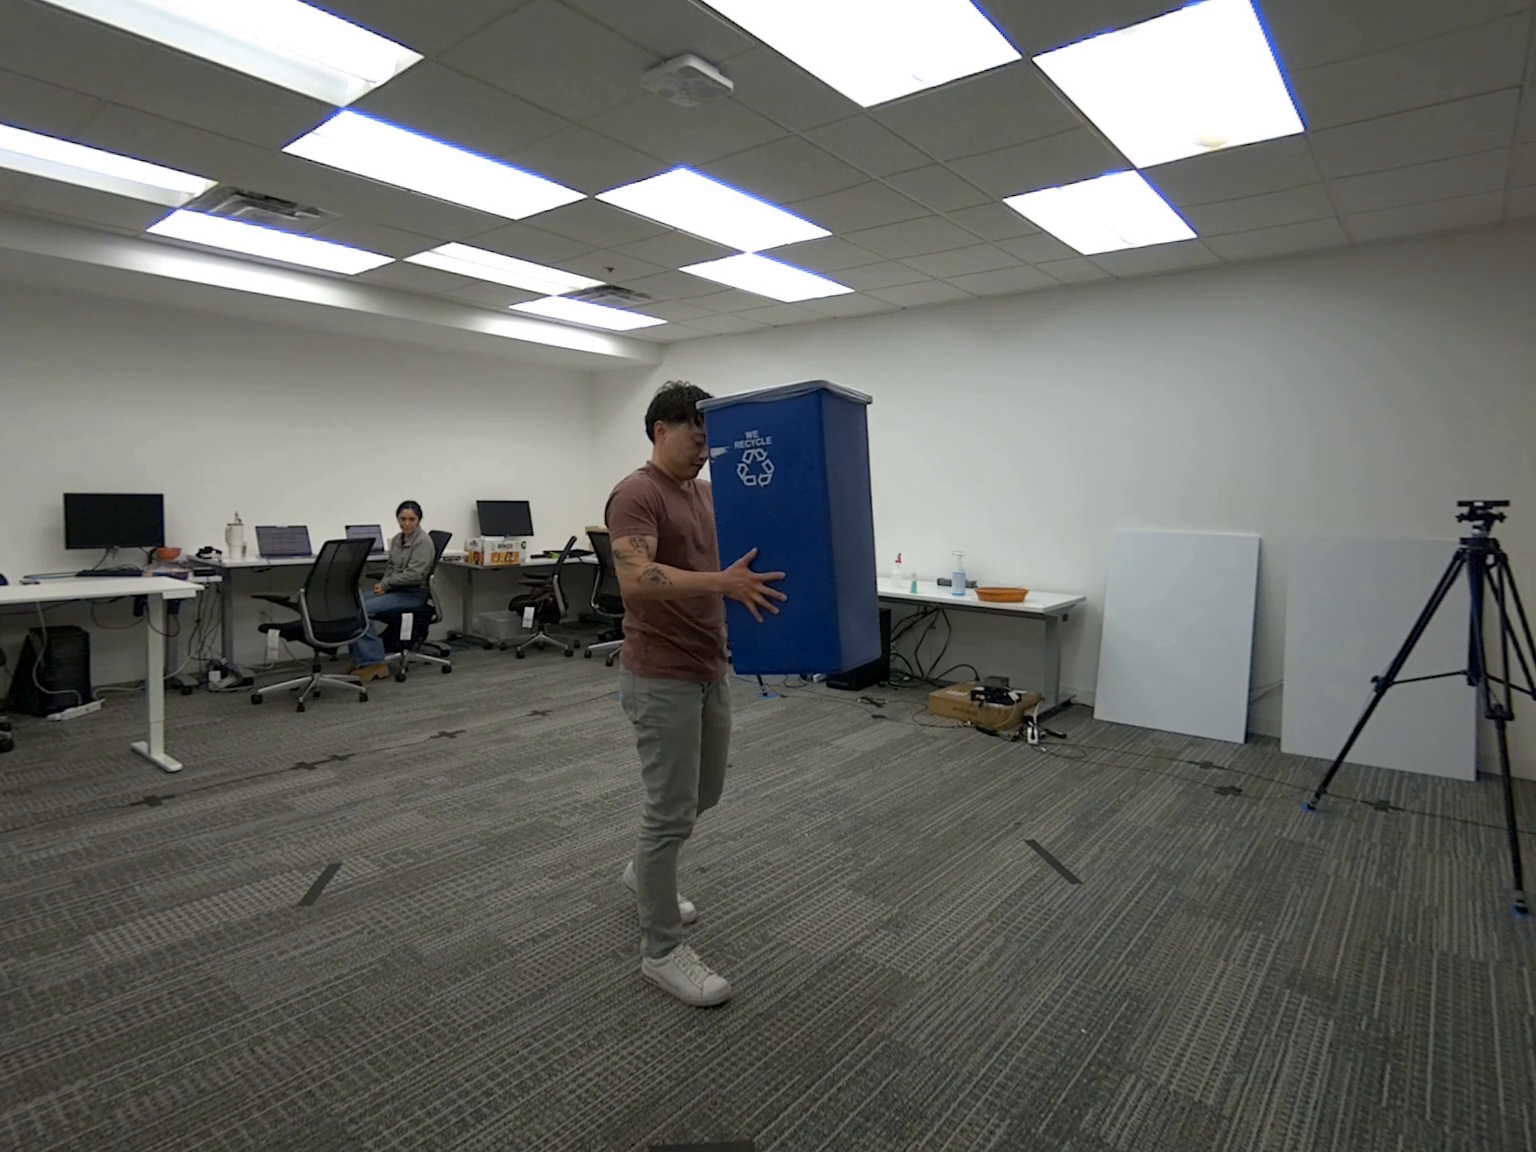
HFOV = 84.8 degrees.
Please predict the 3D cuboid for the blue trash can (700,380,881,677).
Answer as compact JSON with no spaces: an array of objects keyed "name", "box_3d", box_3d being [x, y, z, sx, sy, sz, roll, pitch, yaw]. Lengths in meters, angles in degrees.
[{"name":"blue trash can","box_3d":[0.076,-0.119,2.260,0.383,0.715,0.368,-6,-1,28]}]
